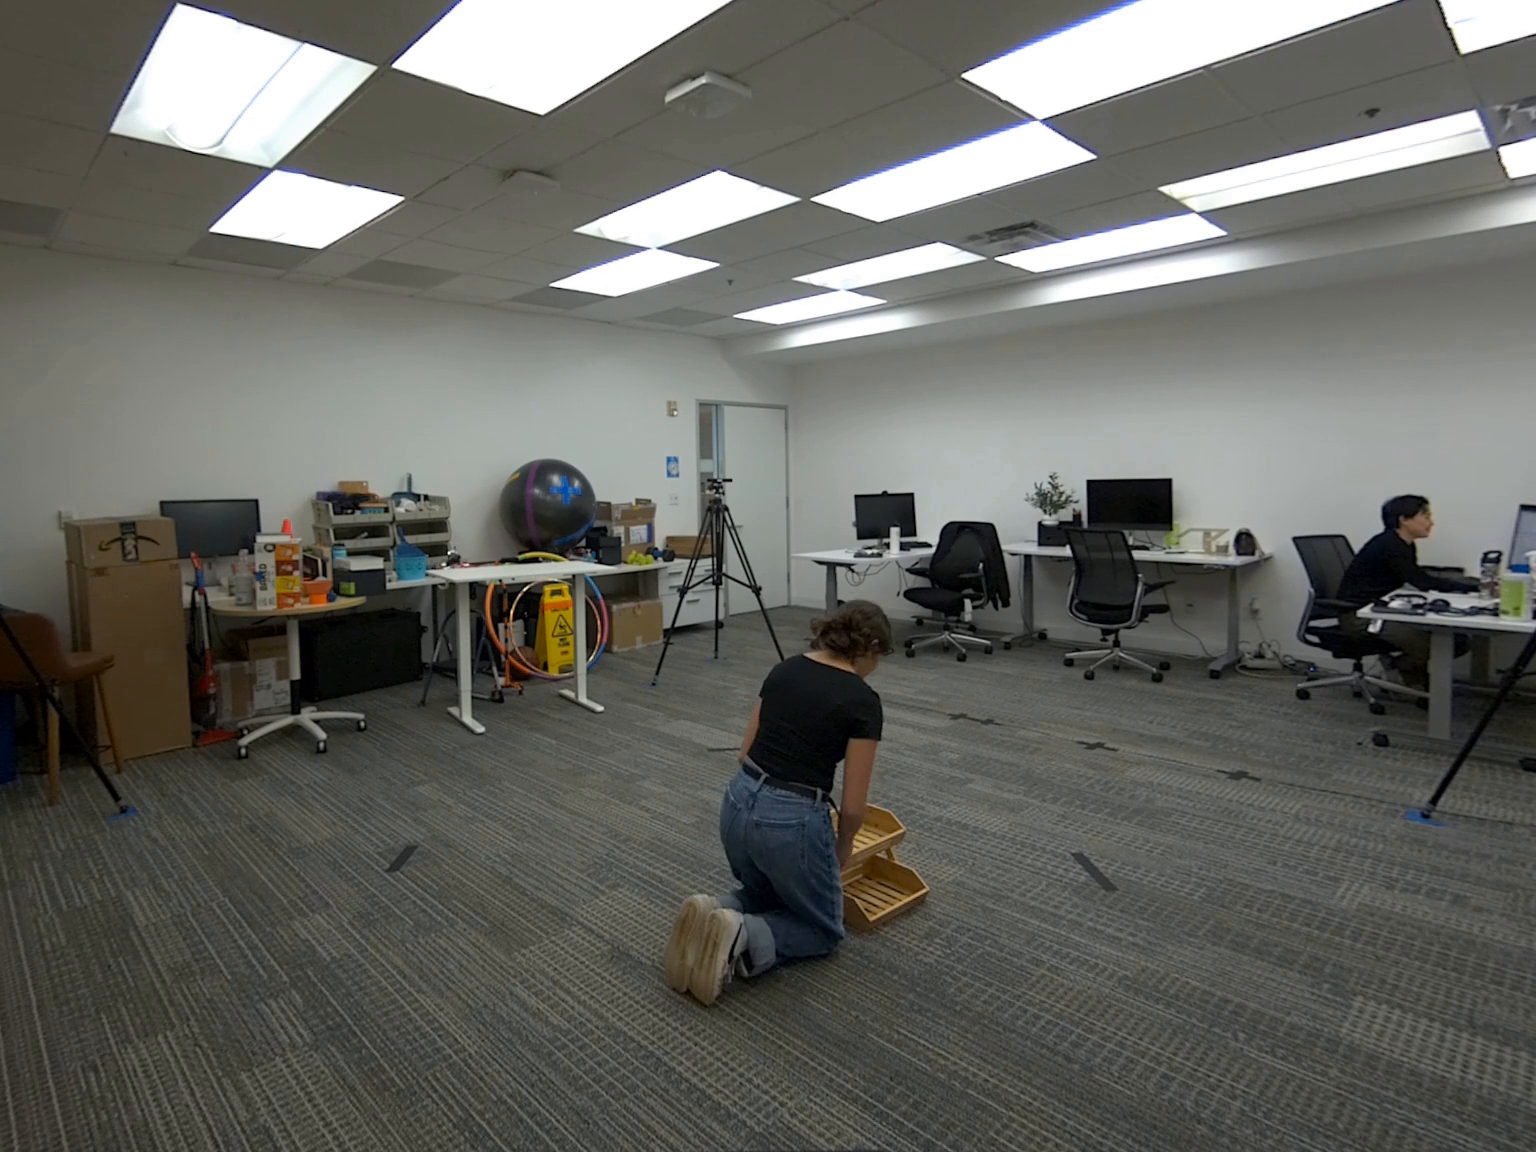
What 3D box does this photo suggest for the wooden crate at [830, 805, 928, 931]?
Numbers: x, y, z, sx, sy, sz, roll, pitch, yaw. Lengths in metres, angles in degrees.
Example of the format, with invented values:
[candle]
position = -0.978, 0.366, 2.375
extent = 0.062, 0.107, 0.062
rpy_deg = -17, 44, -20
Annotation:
[wooden crate]
position = 0.321, 0.940, 2.803
extent = 0.316, 0.272, 0.311
rpy_deg = -6, 6, -42
